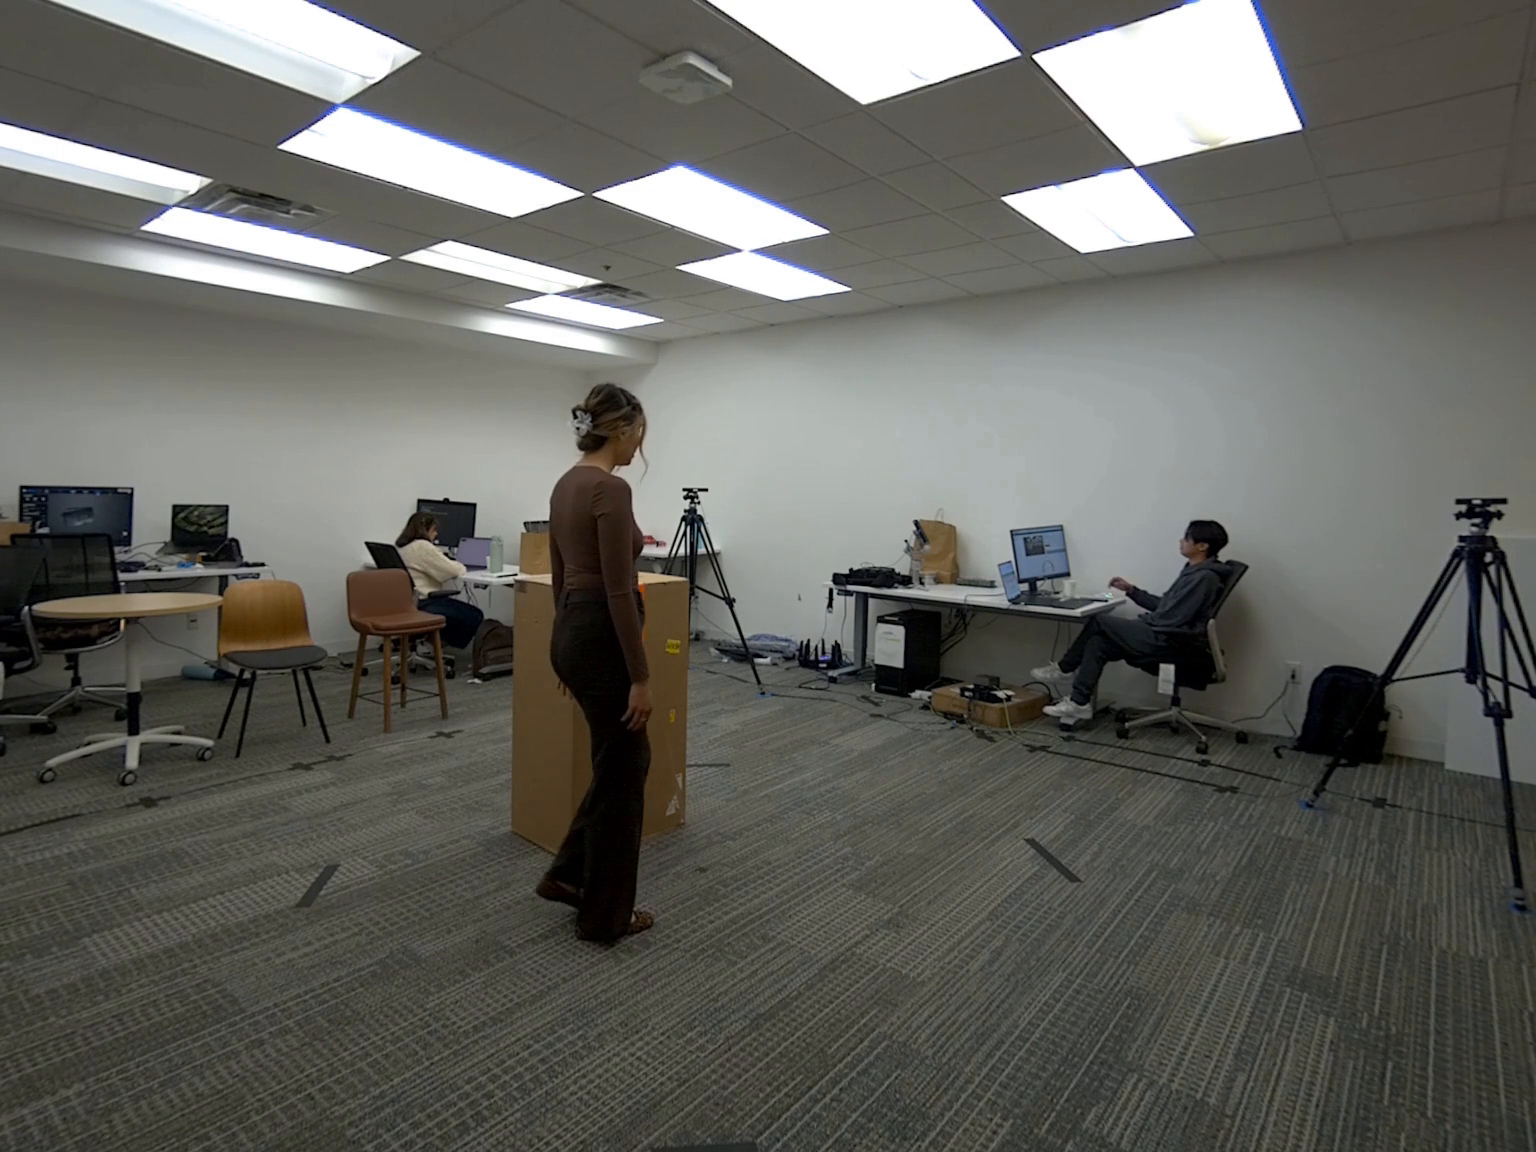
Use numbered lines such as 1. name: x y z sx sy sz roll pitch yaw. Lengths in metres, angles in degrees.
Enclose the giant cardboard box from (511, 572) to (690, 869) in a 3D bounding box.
1. giant cardboard box: -0.689 0.517 3.456 0.462 1.024 0.566 5 5 44
